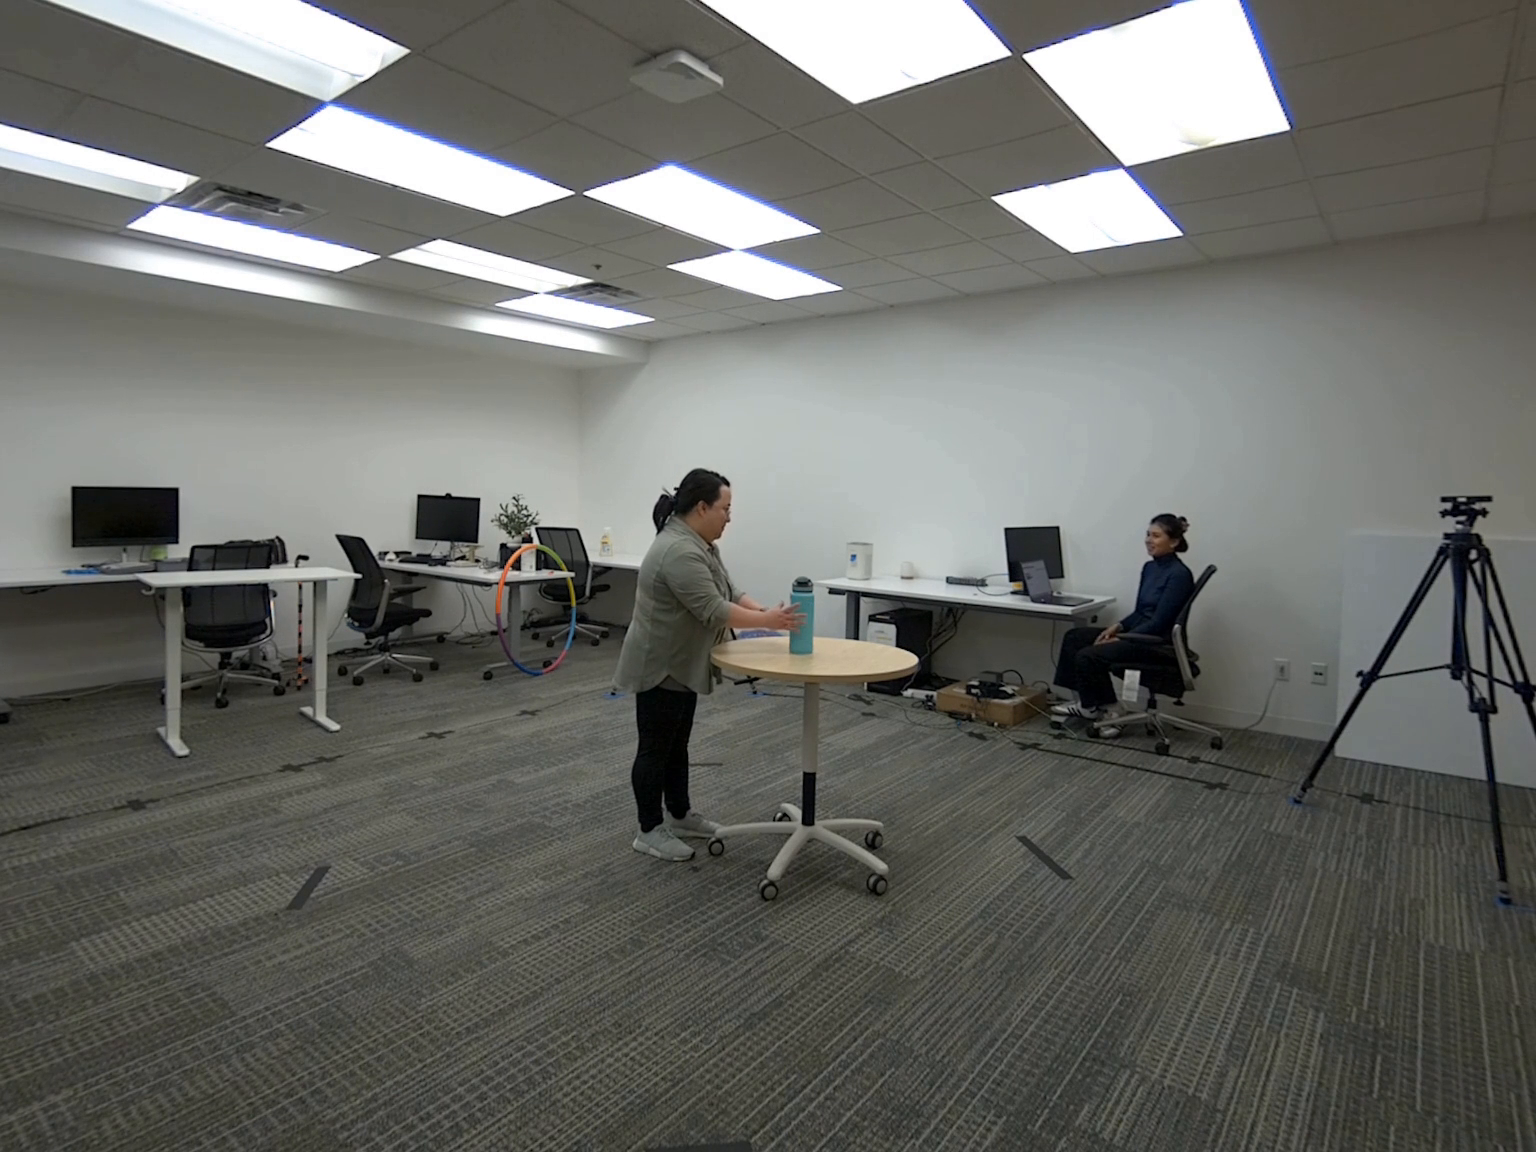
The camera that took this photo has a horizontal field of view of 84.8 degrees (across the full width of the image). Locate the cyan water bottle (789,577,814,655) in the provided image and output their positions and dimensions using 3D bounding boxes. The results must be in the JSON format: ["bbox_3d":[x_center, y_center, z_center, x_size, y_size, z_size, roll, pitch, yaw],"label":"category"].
[{"bbox_3d":[0.118,0.145,3.179,0.092,0.283,0.092,0,1,-2],"label":"cyan water bottle"}]
